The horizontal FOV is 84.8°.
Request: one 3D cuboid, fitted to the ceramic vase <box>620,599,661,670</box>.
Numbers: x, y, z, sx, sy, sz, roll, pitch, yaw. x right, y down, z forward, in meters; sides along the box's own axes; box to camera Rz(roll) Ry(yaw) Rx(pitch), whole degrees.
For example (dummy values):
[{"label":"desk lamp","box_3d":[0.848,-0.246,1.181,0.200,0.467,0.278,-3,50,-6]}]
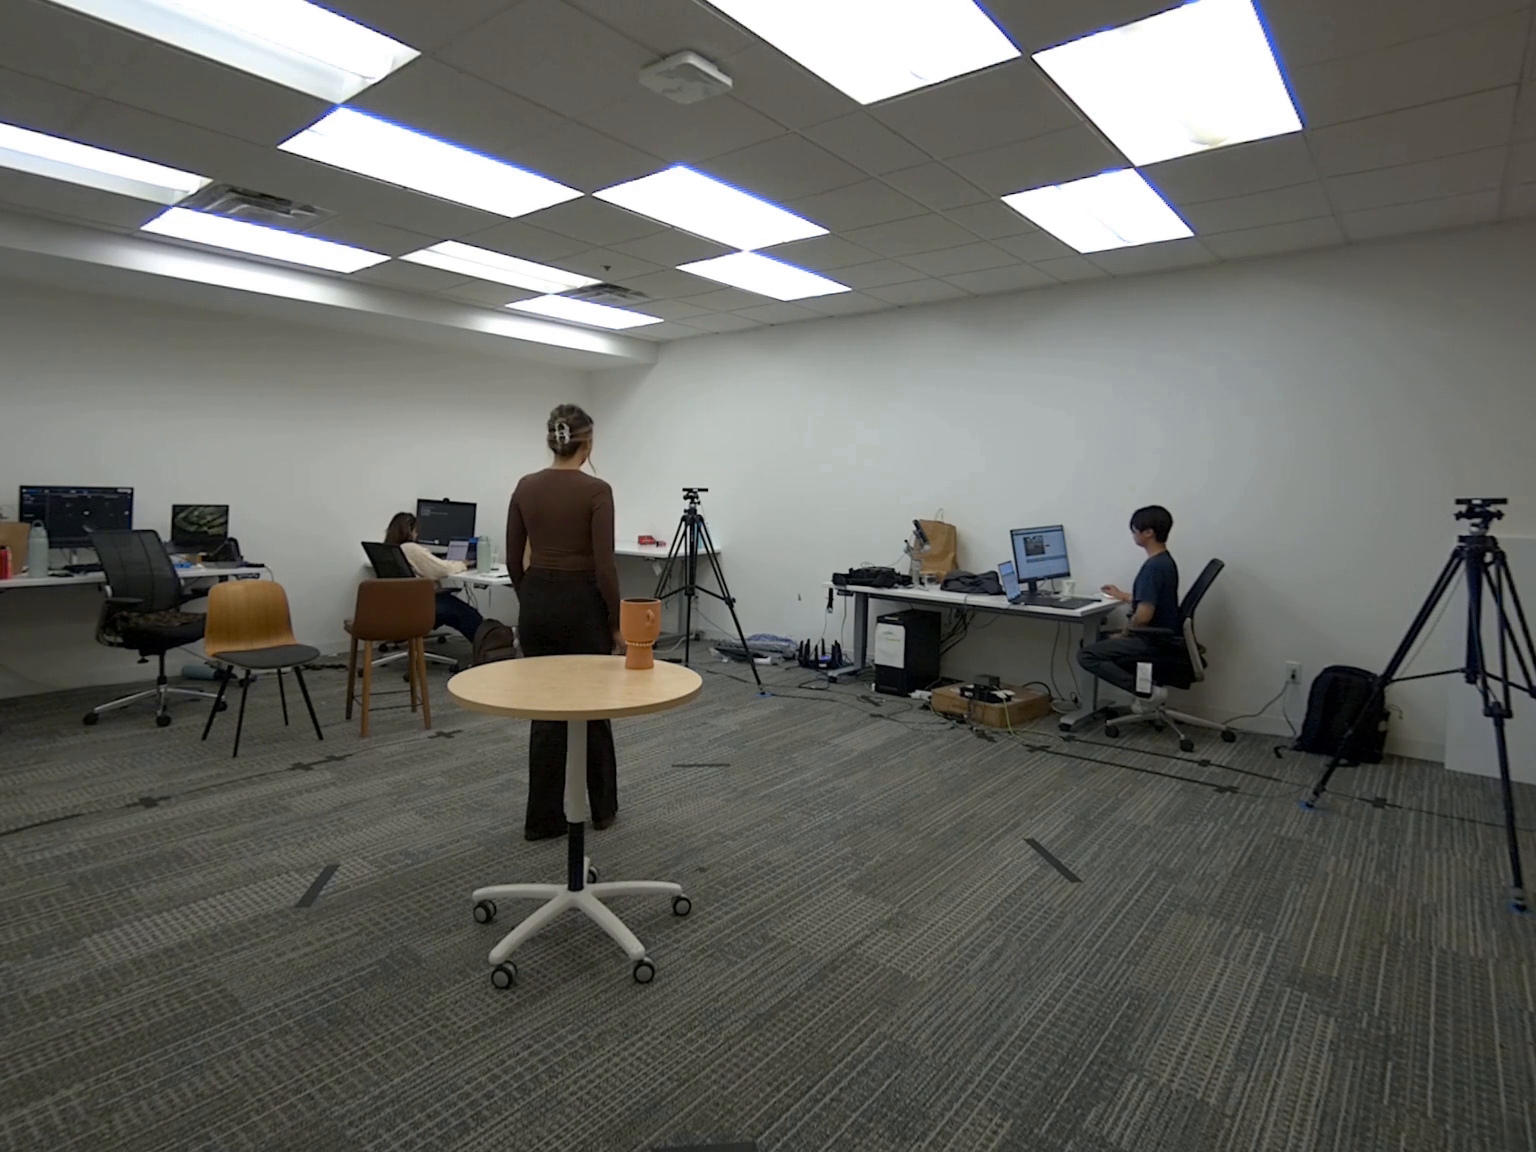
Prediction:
[{"label":"ceramic vase","box_3d":[-0.434,0.190,2.804,0.136,0.219,0.158,2,3,8]}]
